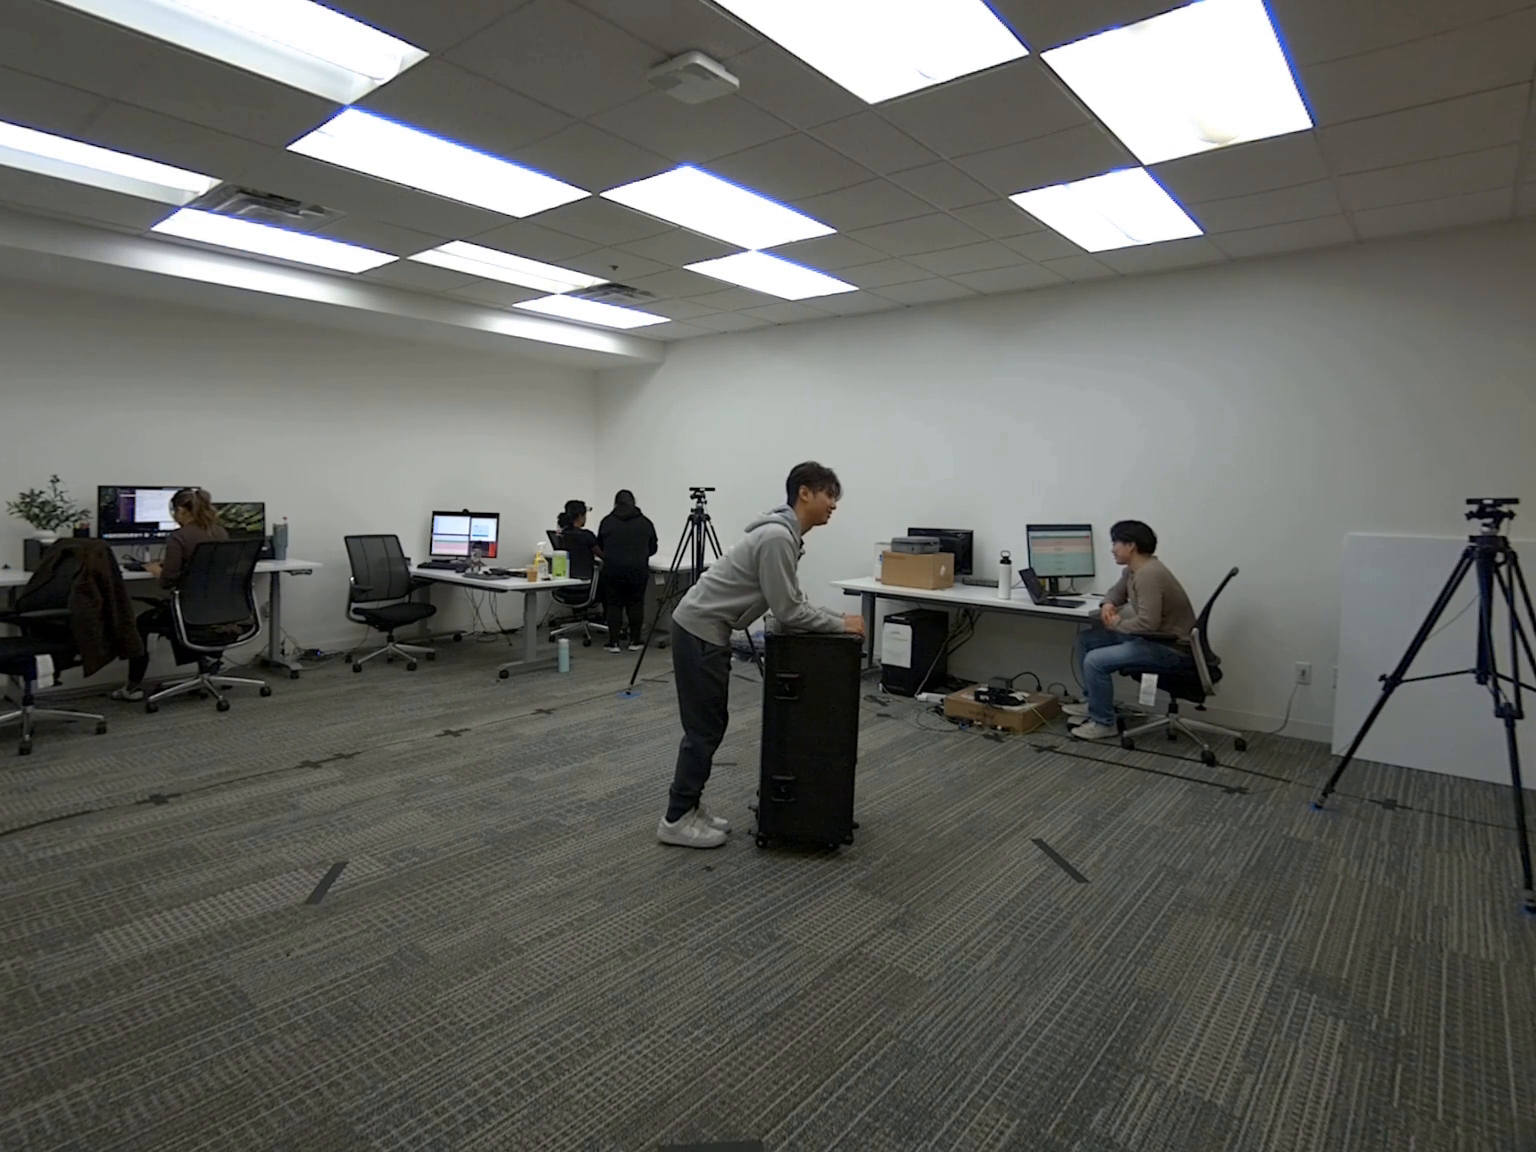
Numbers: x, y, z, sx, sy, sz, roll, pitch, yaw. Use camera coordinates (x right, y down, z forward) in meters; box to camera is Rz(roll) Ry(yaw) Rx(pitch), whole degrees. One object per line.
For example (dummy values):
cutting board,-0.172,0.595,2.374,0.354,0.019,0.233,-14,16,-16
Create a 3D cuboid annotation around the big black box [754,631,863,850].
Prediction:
big black box,0.149,0.620,3.415,0.397,0.859,0.522,2,3,1
